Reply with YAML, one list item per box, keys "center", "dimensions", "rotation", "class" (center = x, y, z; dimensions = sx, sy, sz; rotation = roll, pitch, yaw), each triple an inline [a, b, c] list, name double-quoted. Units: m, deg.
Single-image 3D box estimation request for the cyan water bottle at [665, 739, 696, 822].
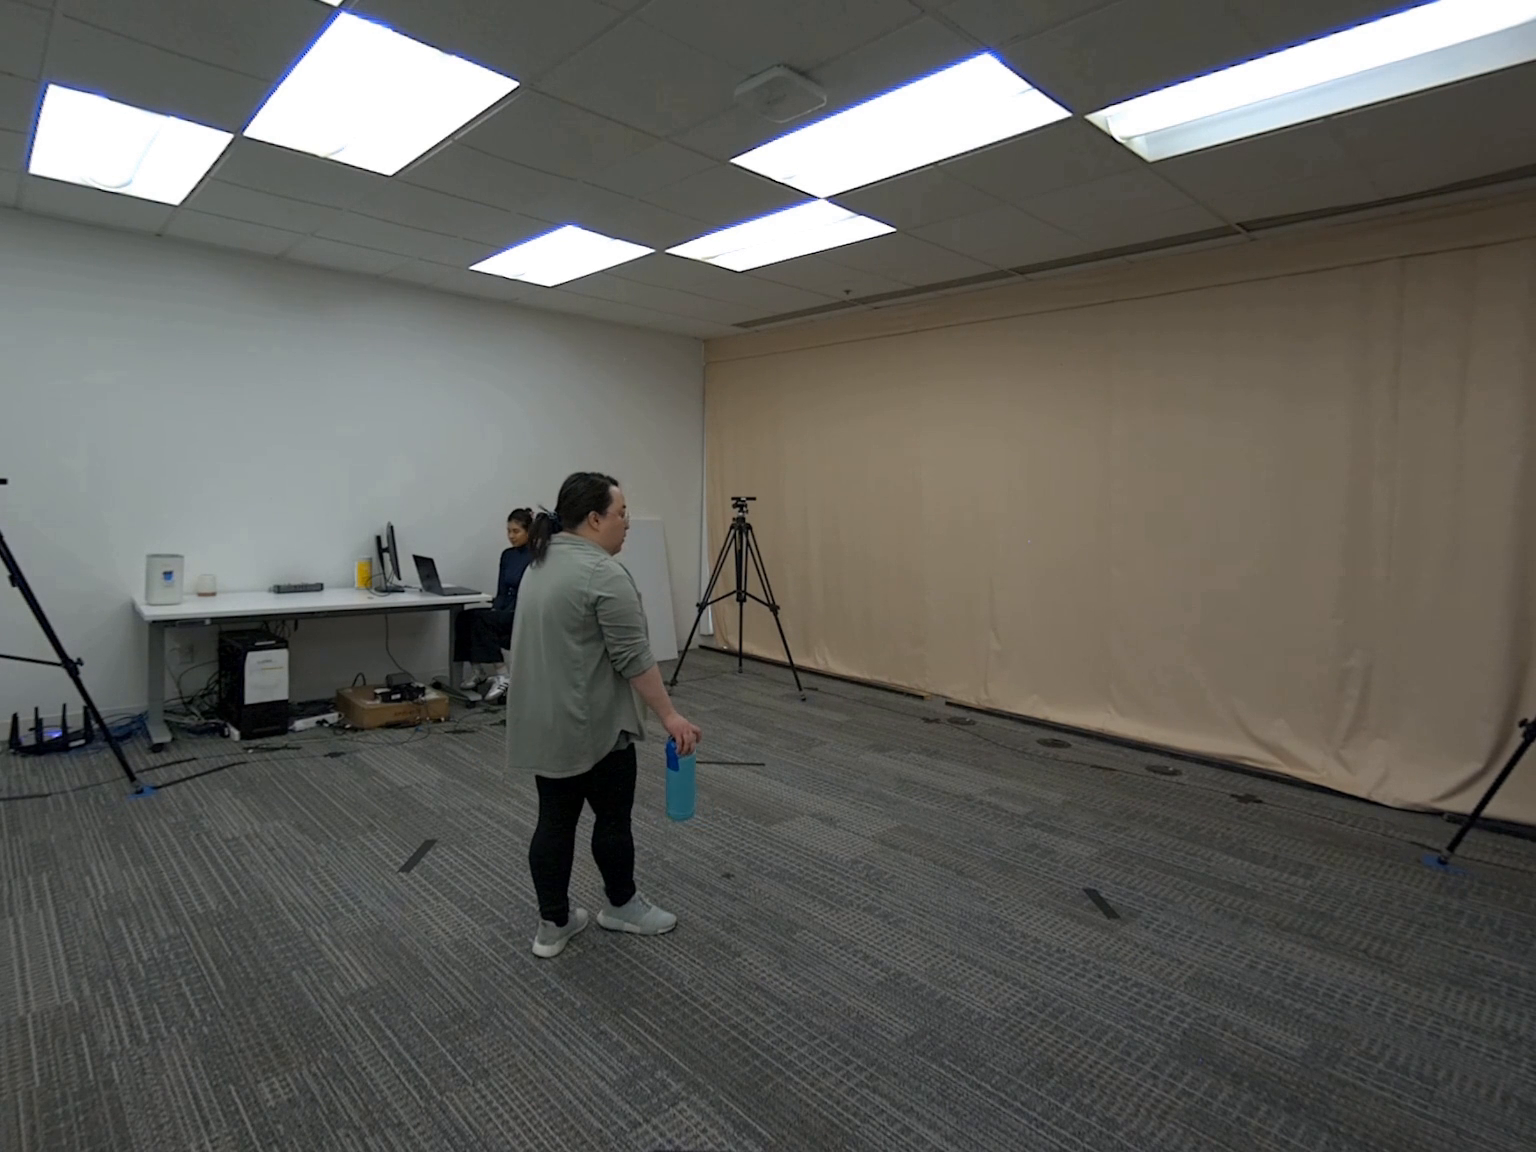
- center: [-0.275, 0.598, 2.500]
  dimensions: [0.092, 0.281, 0.093]
  rotation: [3, 14, -2]
  class: "cyan water bottle"
